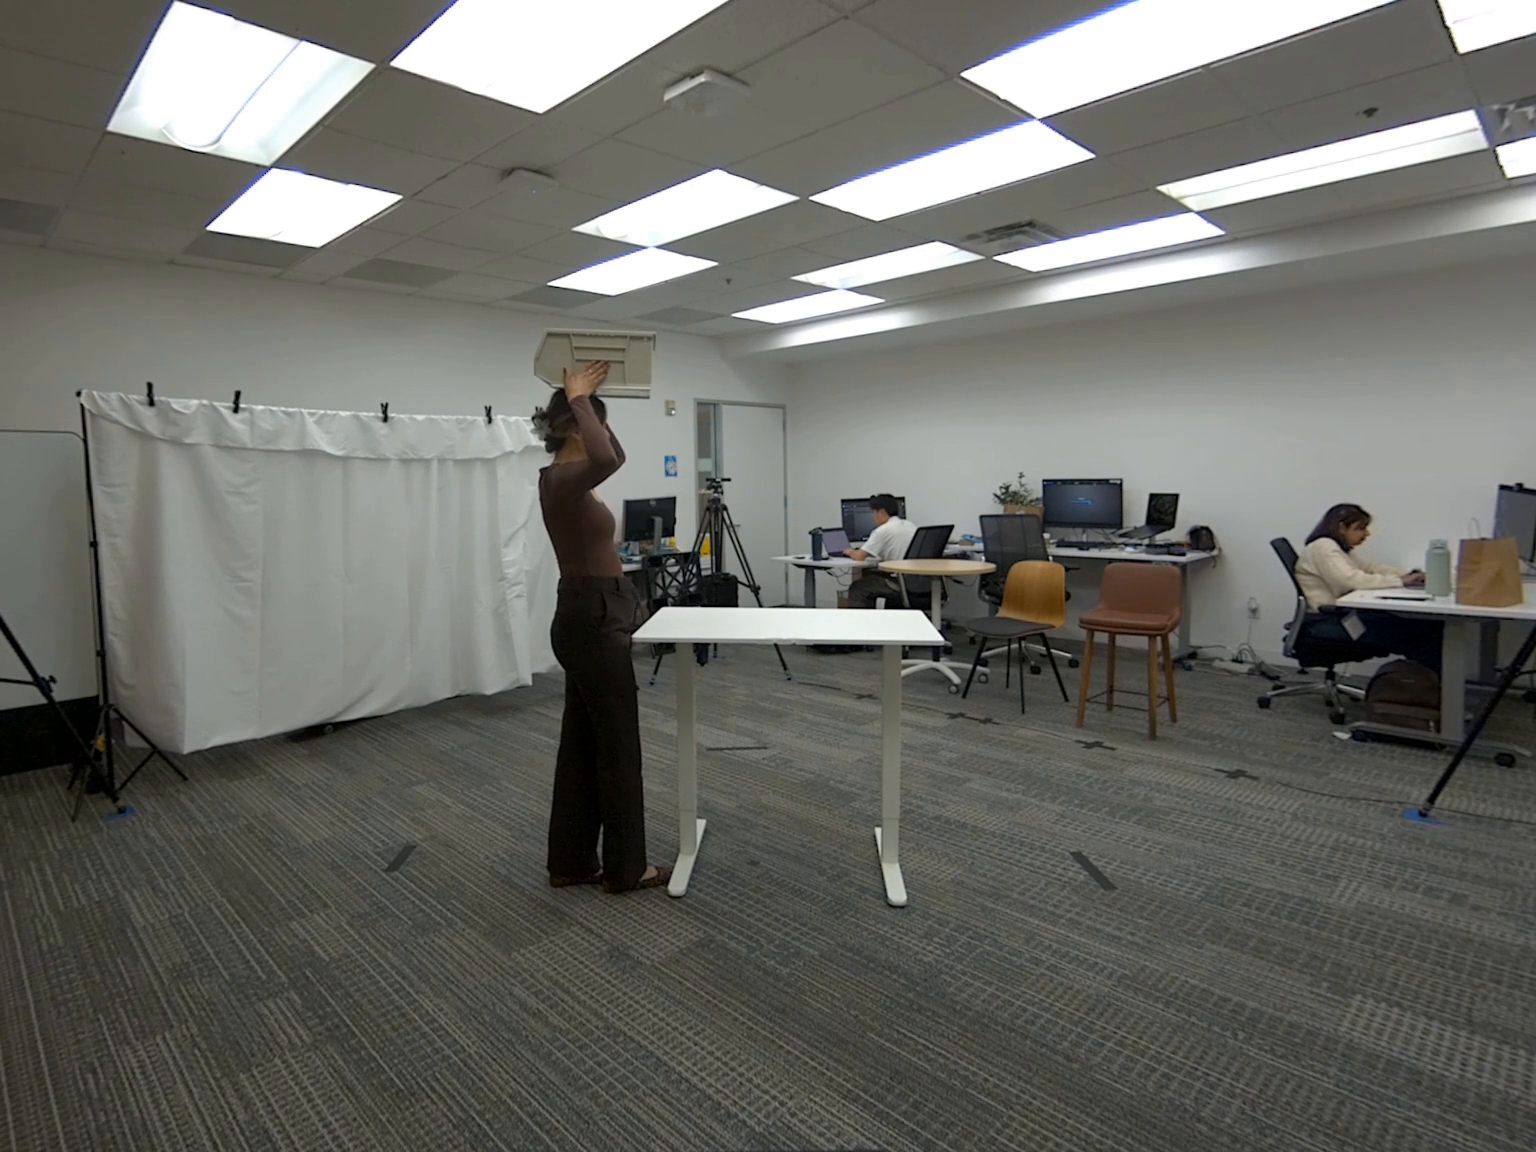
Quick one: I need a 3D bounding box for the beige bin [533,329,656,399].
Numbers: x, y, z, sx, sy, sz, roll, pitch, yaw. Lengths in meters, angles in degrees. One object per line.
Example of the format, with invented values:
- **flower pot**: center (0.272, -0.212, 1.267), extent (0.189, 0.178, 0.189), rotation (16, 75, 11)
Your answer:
- **beige bin**: center (-0.573, -0.706, 2.869), extent (0.375, 0.188, 0.427), rotation (2, 7, -6)
